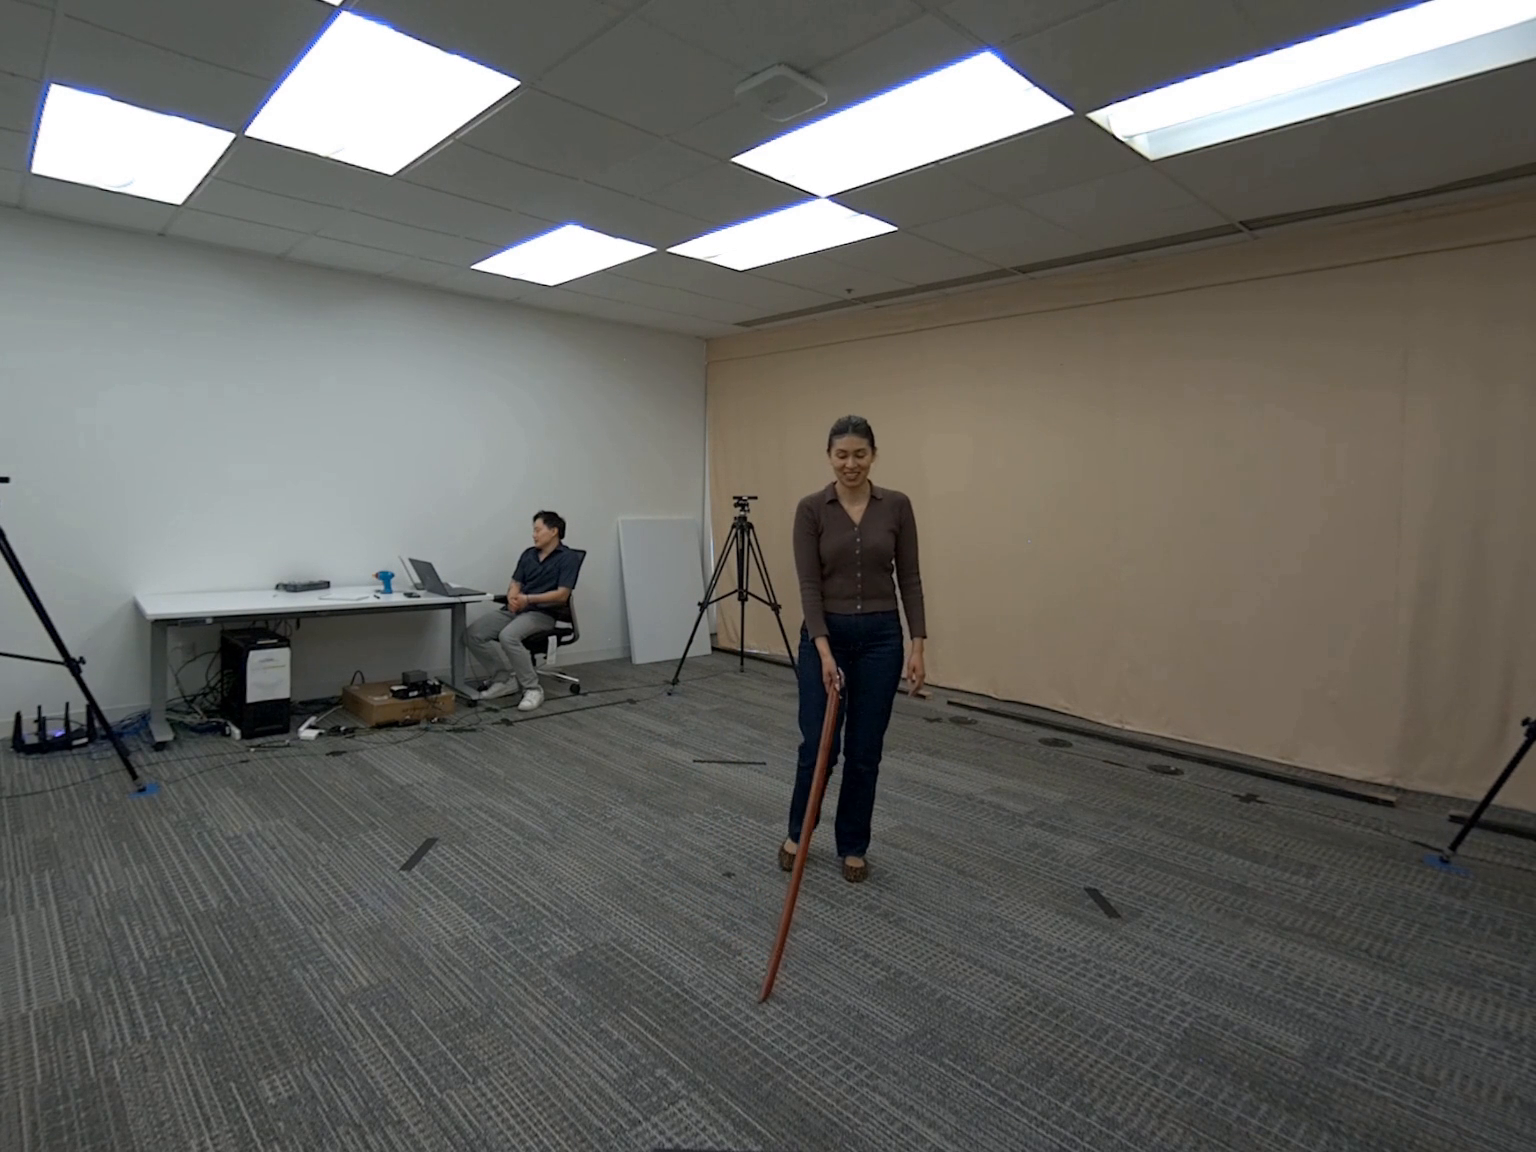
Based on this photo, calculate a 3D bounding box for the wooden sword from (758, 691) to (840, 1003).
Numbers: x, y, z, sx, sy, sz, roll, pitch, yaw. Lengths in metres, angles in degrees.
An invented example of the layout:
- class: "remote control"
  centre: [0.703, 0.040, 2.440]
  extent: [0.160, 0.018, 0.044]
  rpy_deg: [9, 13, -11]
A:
- class: "wooden sword"
  centre: [0.115, 0.779, 2.585]
  extent: [0.050, 1.037, 0.024]
  rpy_deg: [26, -34, -13]
